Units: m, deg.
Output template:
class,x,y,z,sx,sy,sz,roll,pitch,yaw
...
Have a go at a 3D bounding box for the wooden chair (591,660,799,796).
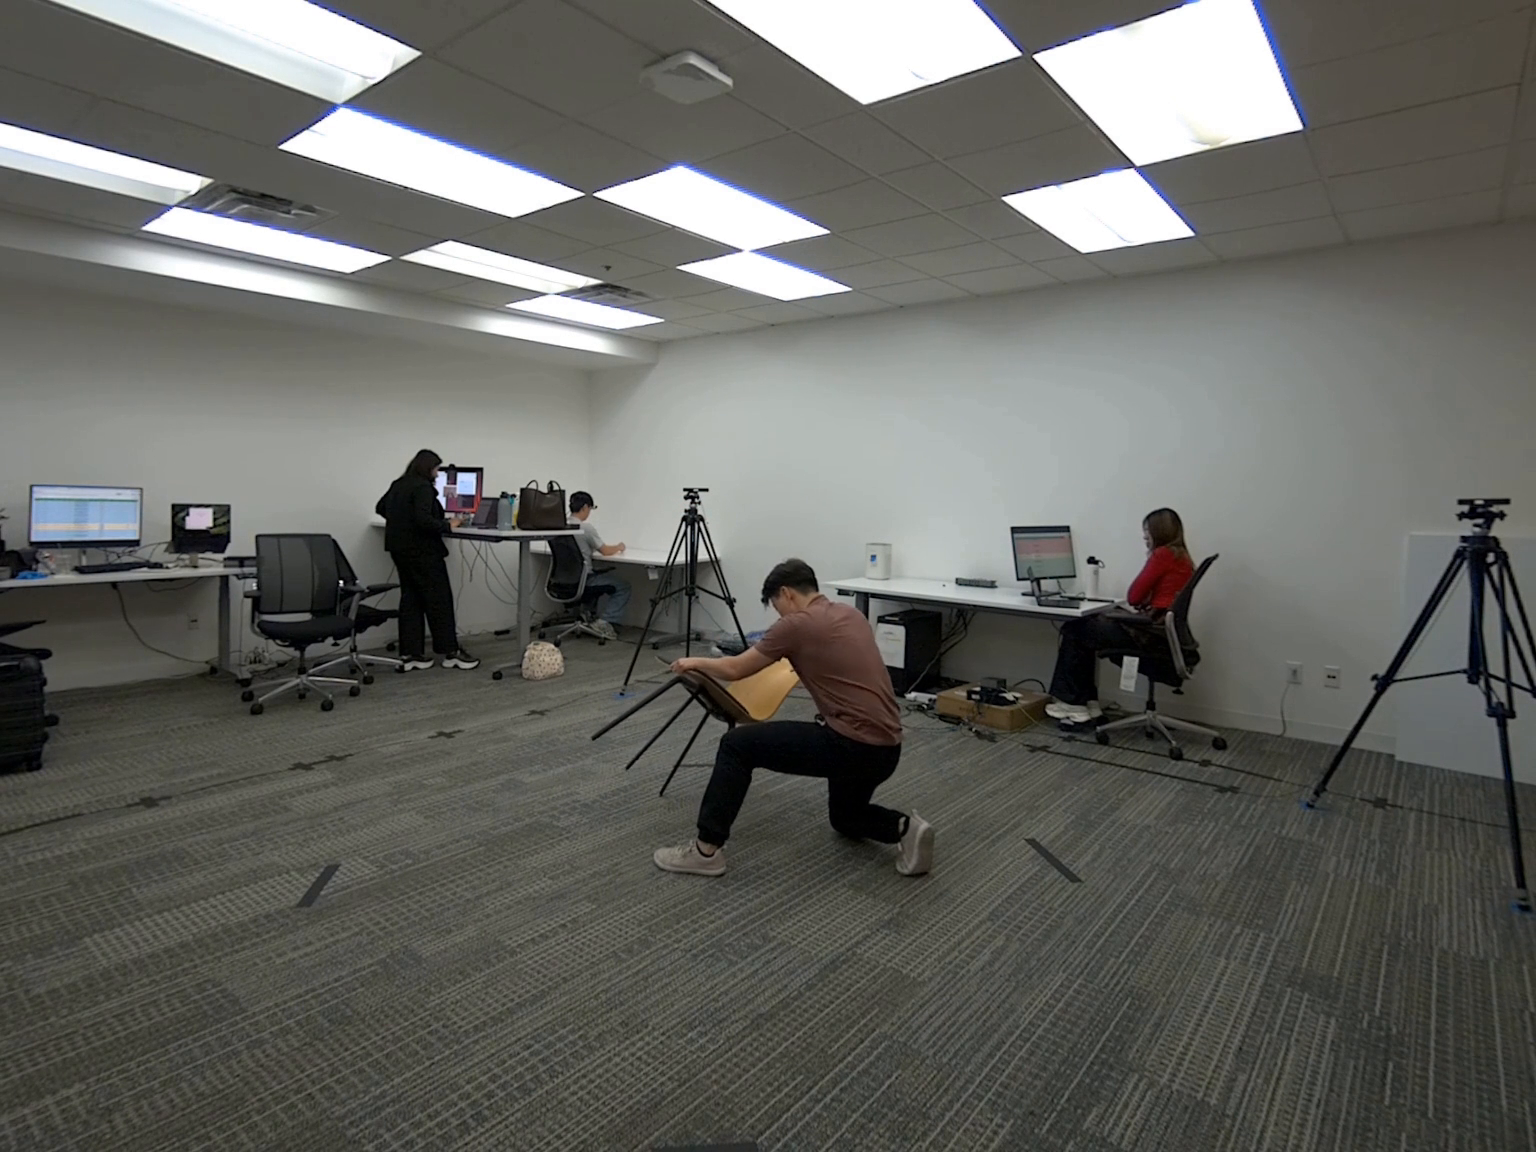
class,x,y,z,sx,sy,sz,roll,pitch,yaw
wooden chair,-0.286,0.539,3.678,0.509,0.877,0.492,49,-17,-22
